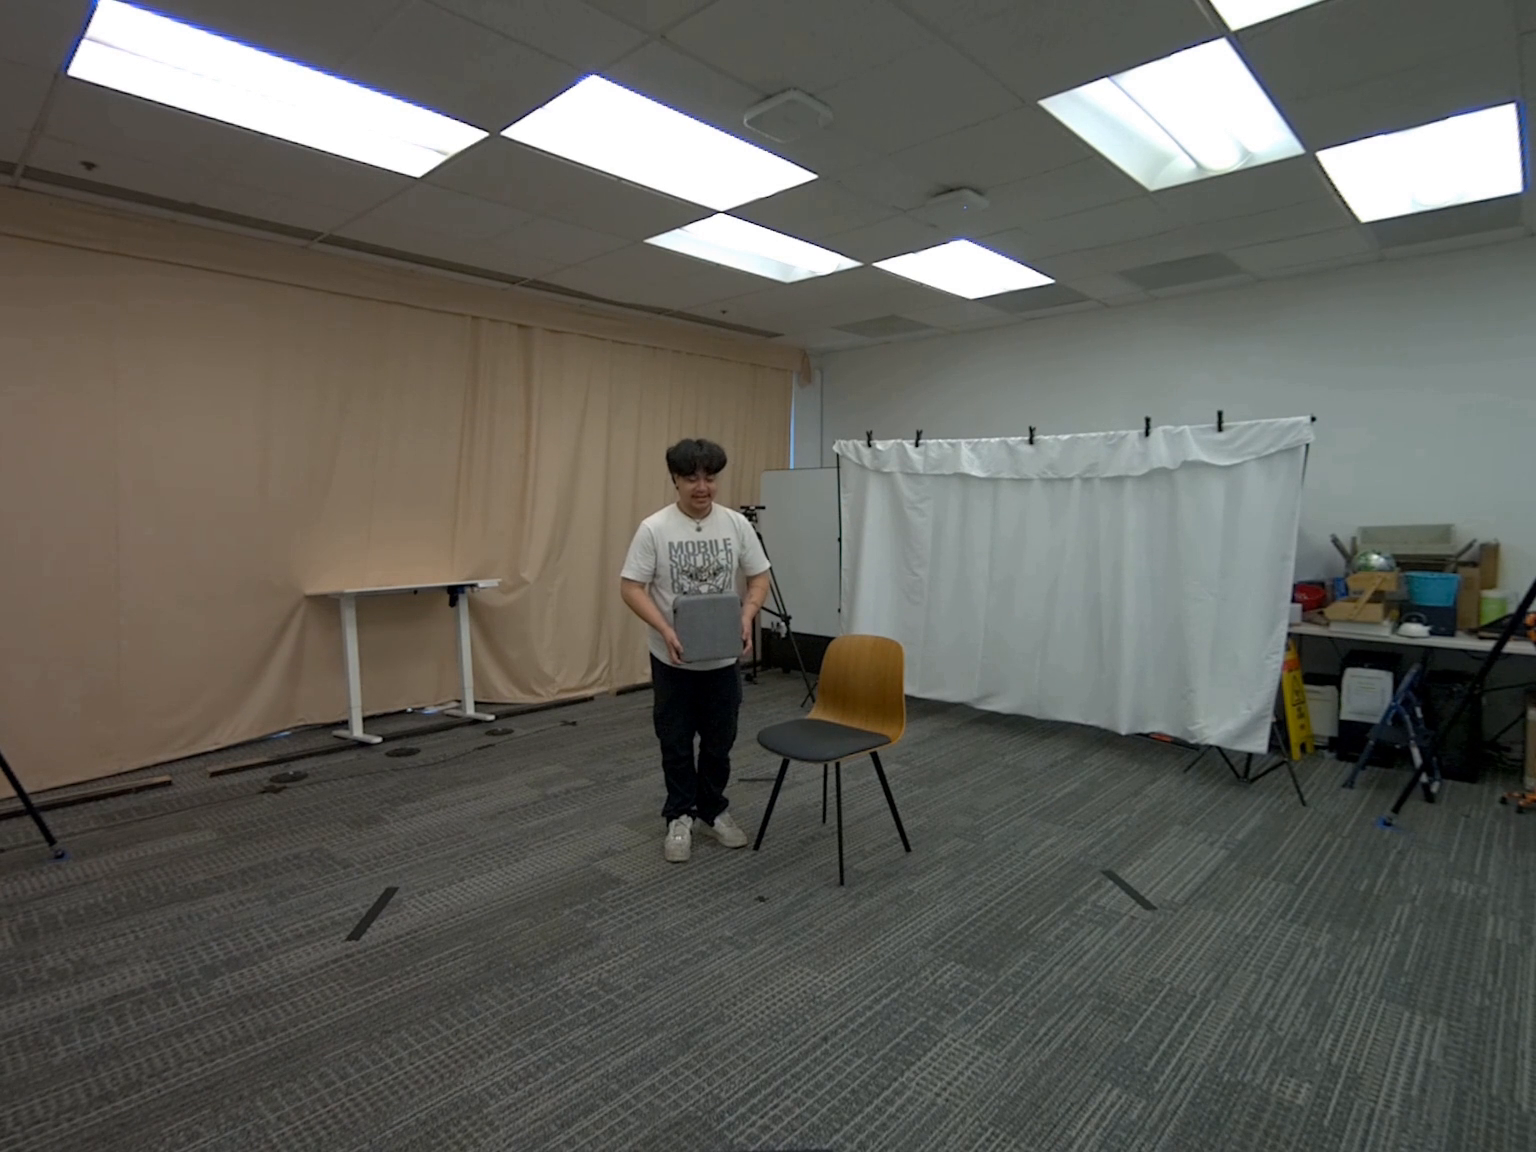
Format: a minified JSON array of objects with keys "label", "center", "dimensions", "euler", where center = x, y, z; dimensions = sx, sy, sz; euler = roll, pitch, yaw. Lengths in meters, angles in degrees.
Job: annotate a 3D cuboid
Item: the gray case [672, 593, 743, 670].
[{"label":"gray case","center":[-0.227,0.182,3.200],"dimensions":[0.253,0.260,0.106],"euler":[-8,5,-15]}]
